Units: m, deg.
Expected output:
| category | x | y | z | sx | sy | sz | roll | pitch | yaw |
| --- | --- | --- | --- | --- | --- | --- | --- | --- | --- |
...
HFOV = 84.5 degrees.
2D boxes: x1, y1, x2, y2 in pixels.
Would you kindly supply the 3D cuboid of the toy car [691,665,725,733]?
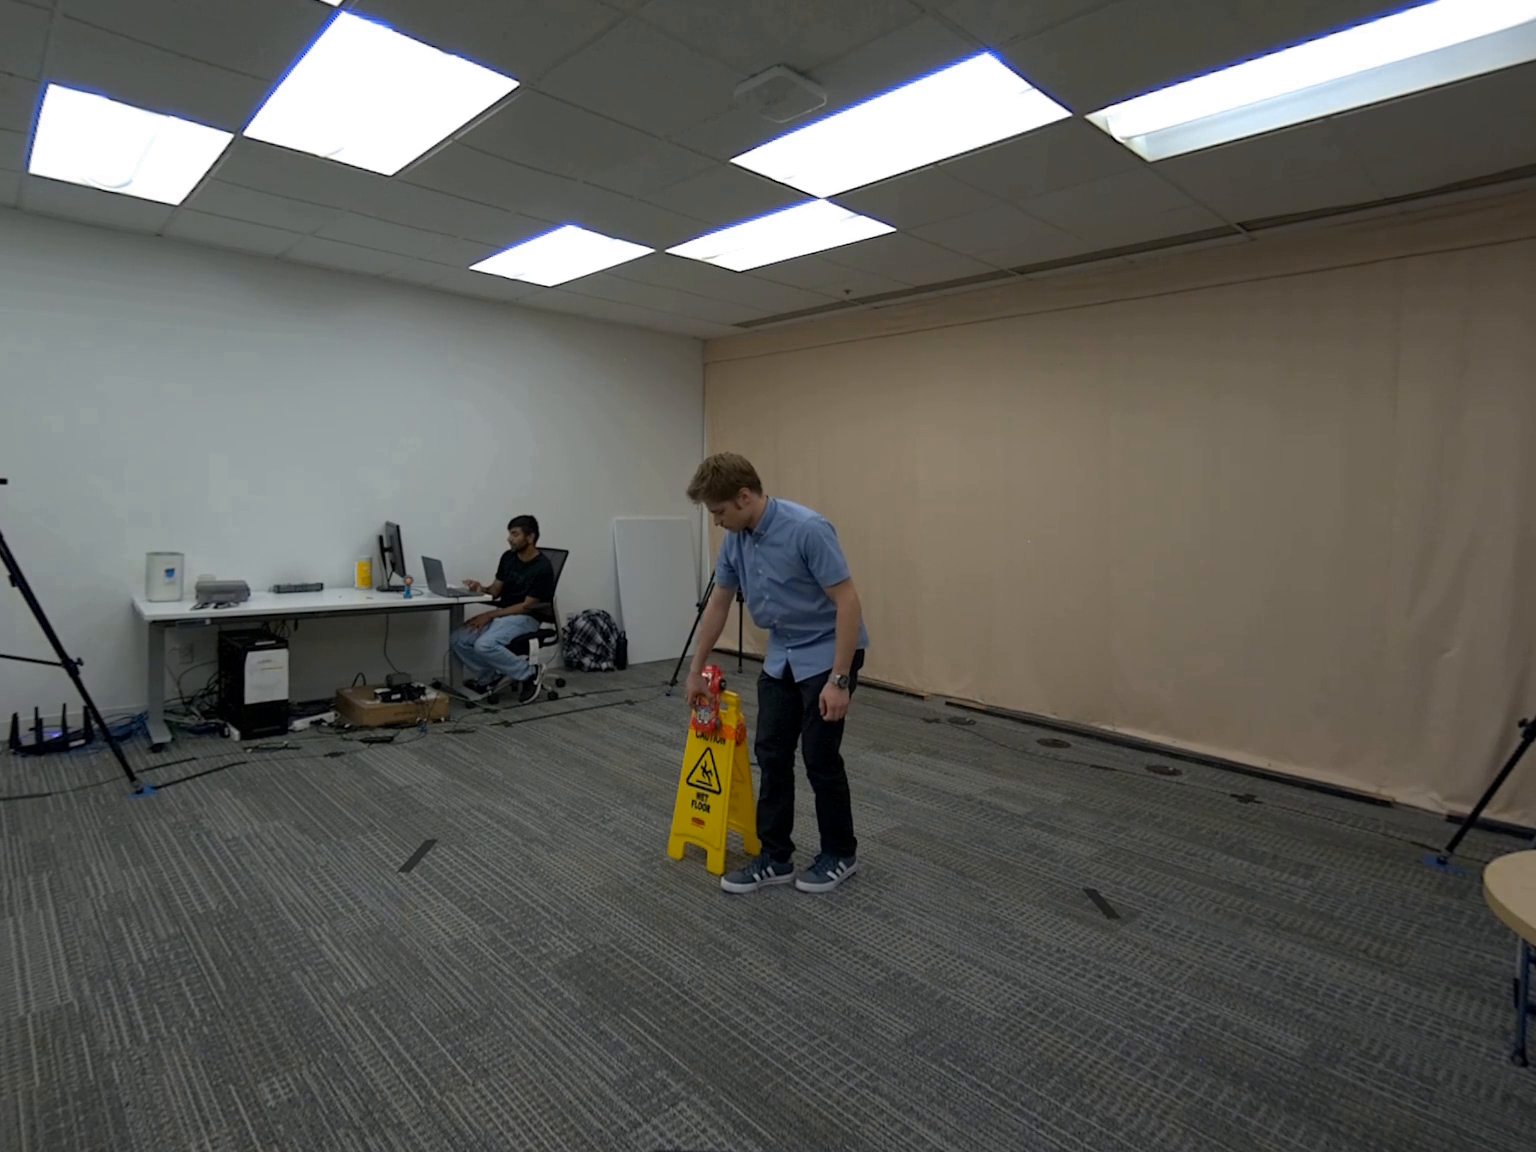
| category | x | y | z | sx | sy | sz | roll | pitch | yaw |
| --- | --- | --- | --- | --- | --- | --- | --- | --- | --- |
| toy car | -0.231 | 0.465 | 3.230 | 0.133 | 0.255 | 0.081 | -1 | -4 | 35 |
